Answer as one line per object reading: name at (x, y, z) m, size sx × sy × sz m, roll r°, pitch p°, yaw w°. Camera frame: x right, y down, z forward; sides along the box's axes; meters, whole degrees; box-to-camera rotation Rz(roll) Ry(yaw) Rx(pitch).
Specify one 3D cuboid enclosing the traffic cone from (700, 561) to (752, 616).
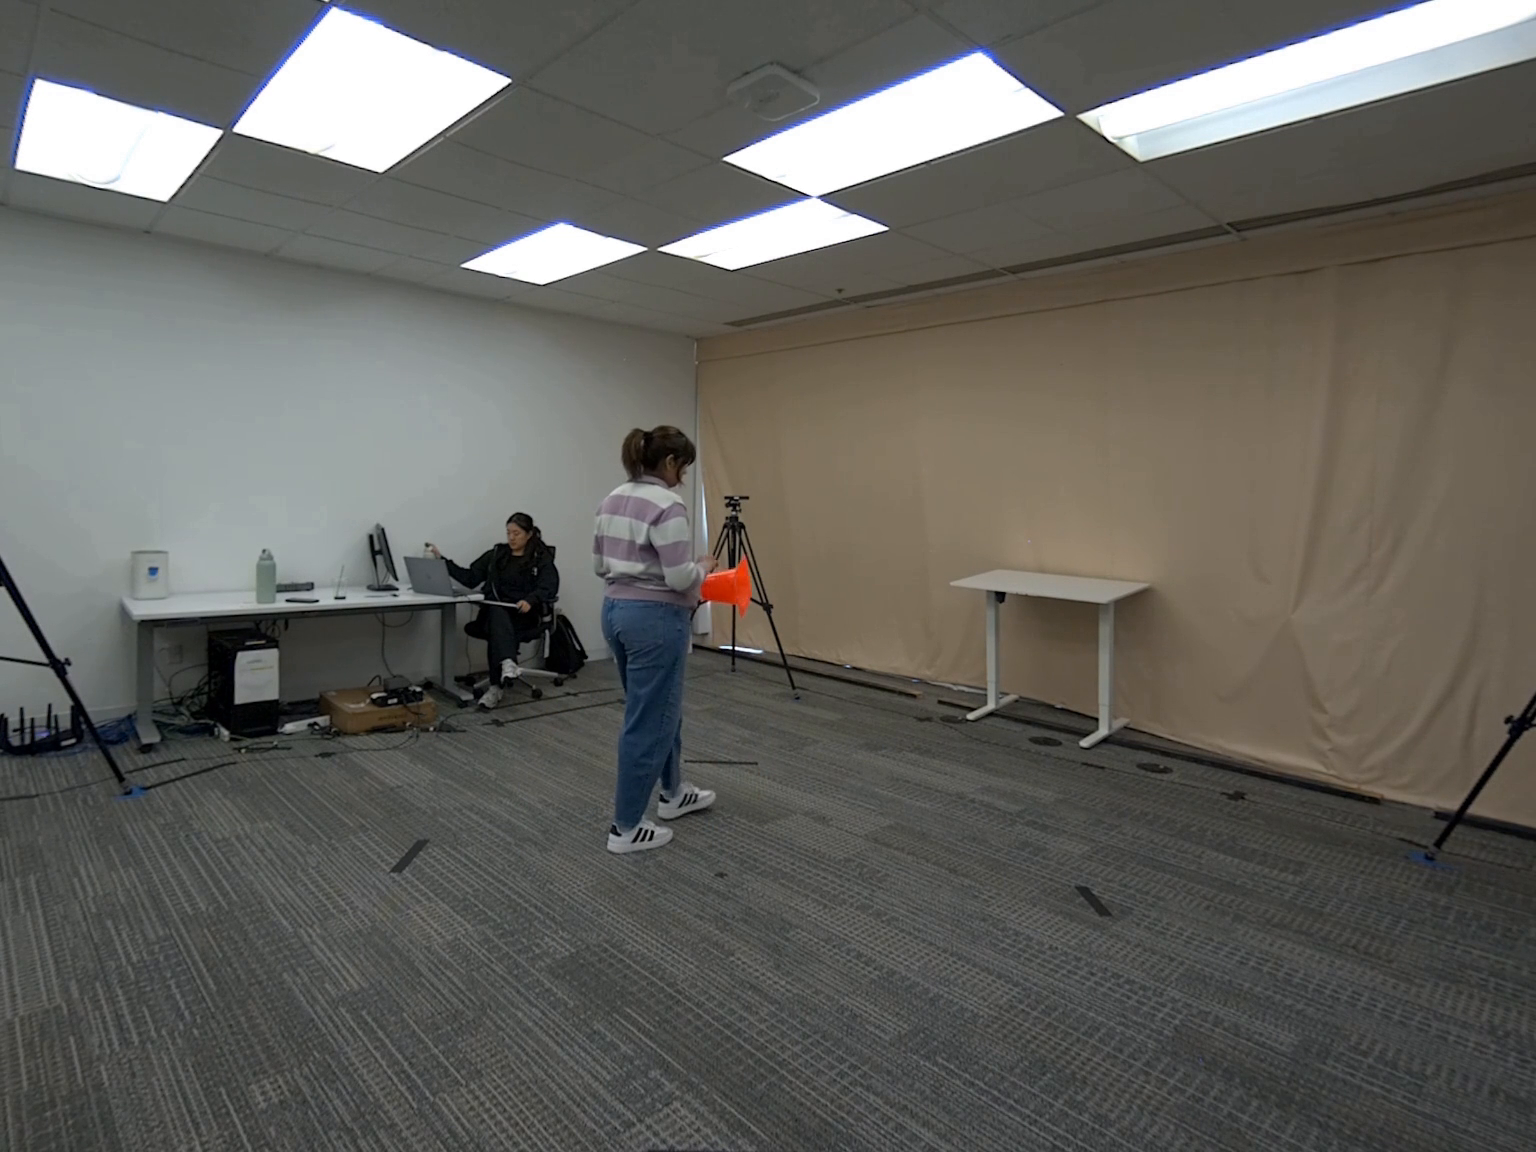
traffic cone at (-0.297, 0.056, 3.509) m, size 0.387 × 0.199 × 0.207 m, roll -3°, pitch 29°, yaw 13°
